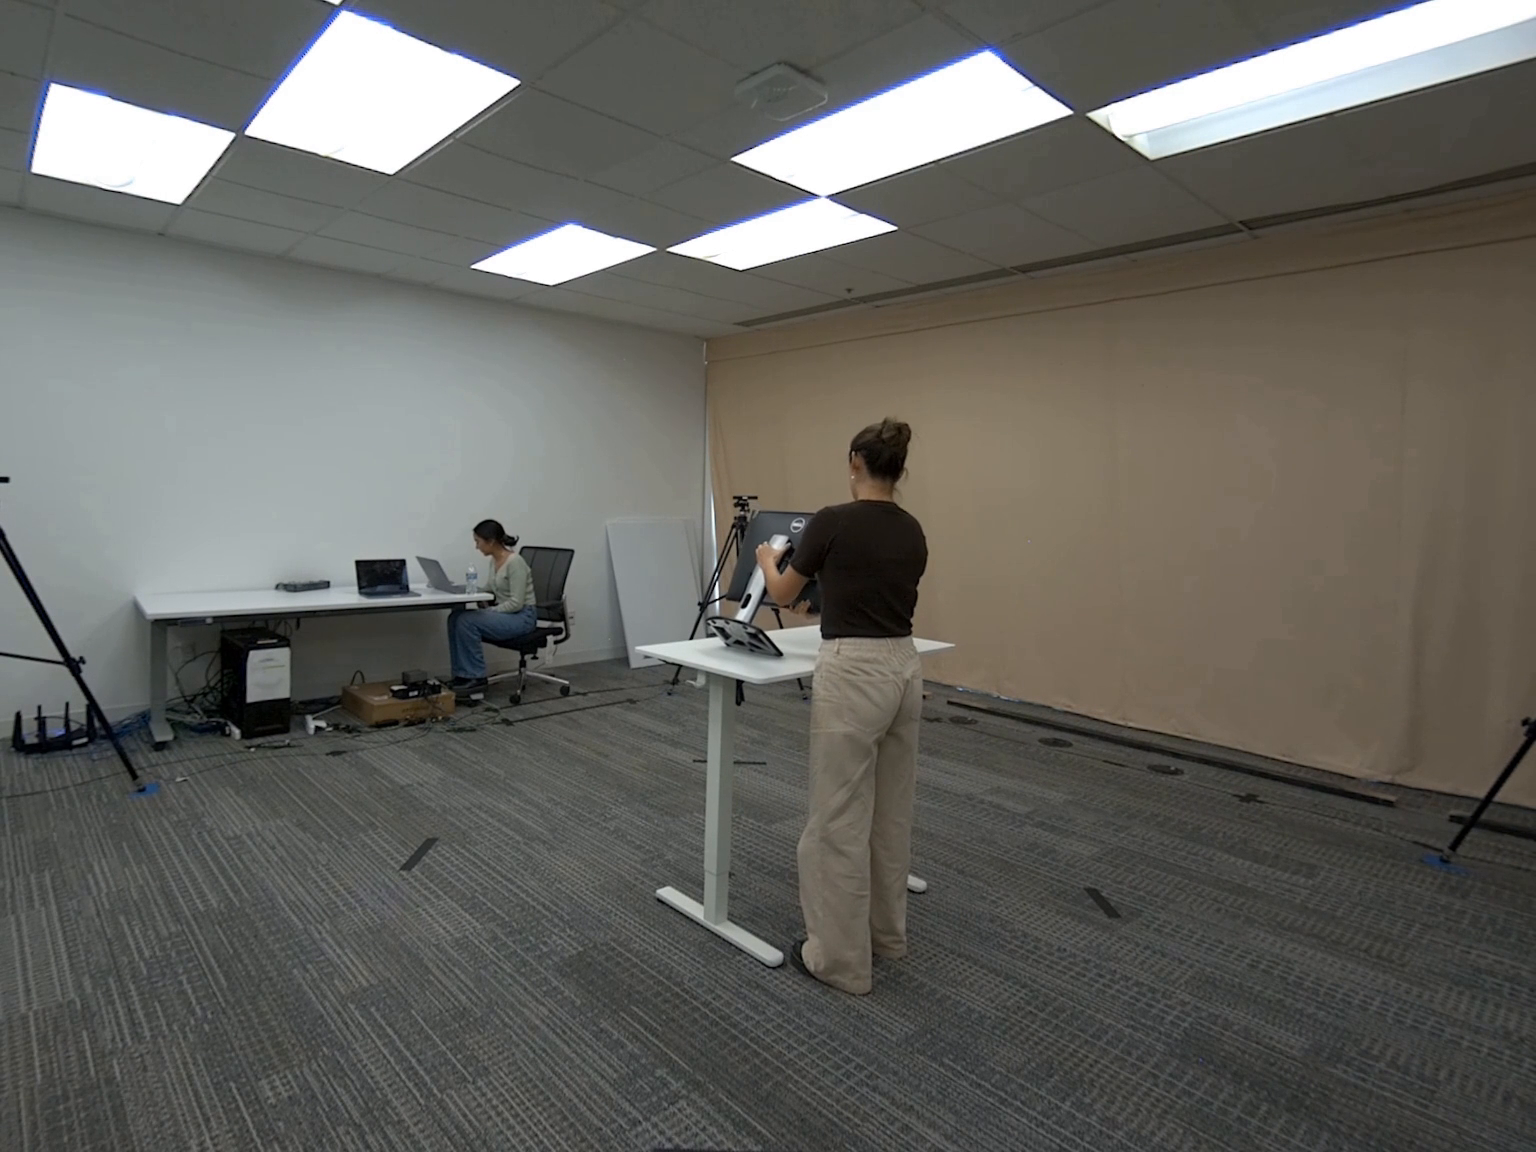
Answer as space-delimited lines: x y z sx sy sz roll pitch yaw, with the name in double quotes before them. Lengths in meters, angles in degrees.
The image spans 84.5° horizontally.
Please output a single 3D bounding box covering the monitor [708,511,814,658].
"monitor" 0.022 0.002 2.829 0.553 0.525 0.181 7 -30 43
